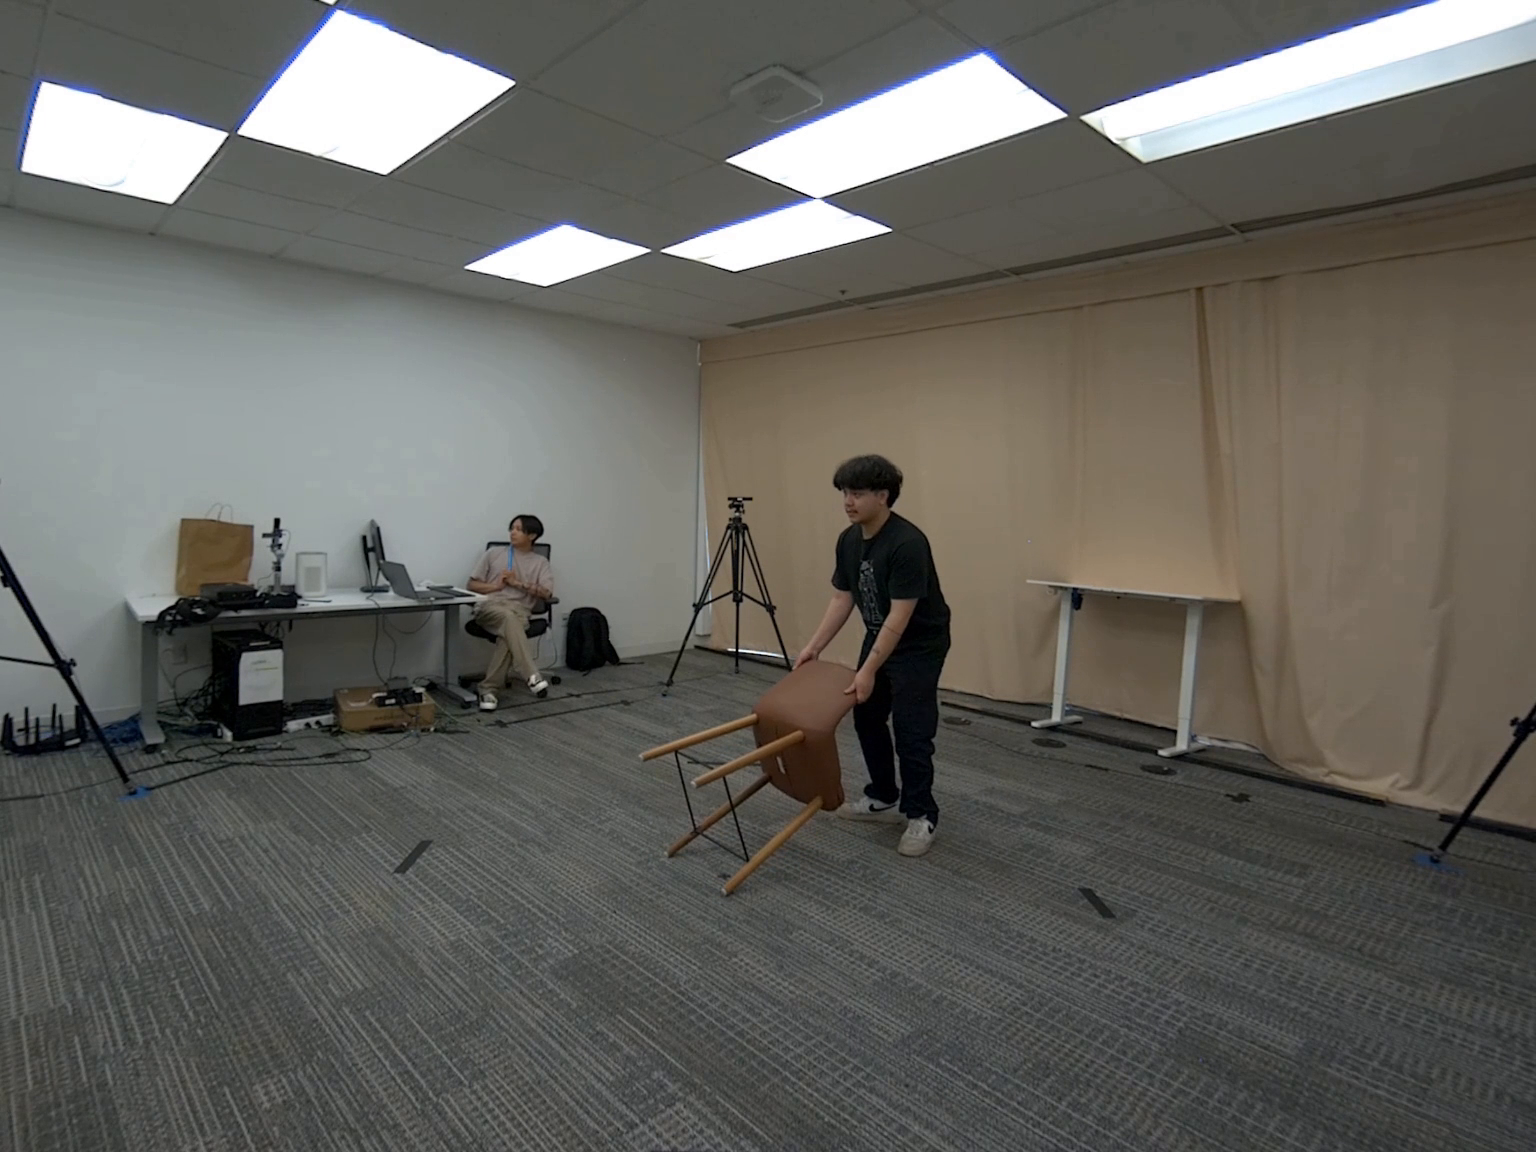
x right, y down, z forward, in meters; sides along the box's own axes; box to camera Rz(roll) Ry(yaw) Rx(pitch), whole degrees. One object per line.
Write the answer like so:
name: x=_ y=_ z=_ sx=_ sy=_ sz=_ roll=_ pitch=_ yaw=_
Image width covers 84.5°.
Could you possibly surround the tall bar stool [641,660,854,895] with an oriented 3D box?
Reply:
tall bar stool: x=-0.001 y=0.737 z=3.285 sx=0.880 sy=0.461 sz=0.468 roll=-27 pitch=20 yaw=-34
